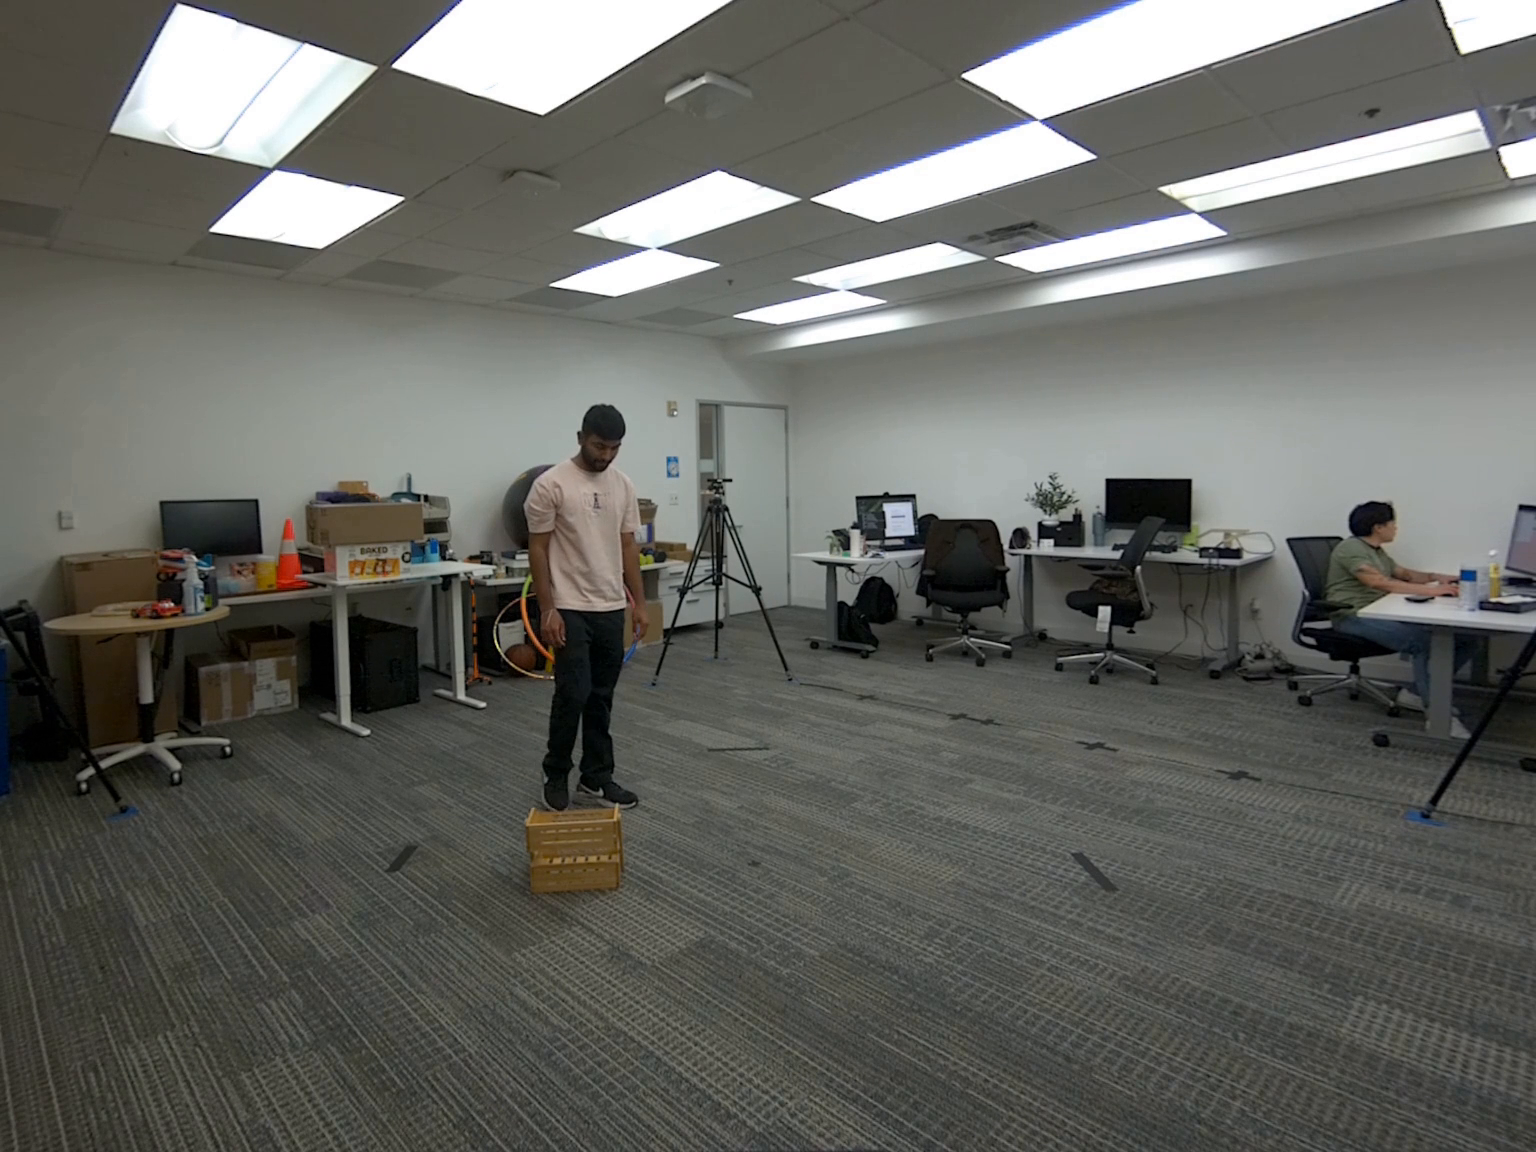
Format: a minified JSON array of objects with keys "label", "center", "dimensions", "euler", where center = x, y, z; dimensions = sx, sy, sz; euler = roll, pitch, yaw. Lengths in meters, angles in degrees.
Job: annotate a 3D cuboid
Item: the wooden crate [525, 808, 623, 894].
[{"label":"wooden crate","center":[-0.675,0.934,3.015],"dimensions":[0.323,0.272,0.305],"euler":[-2,6,-6]}]
